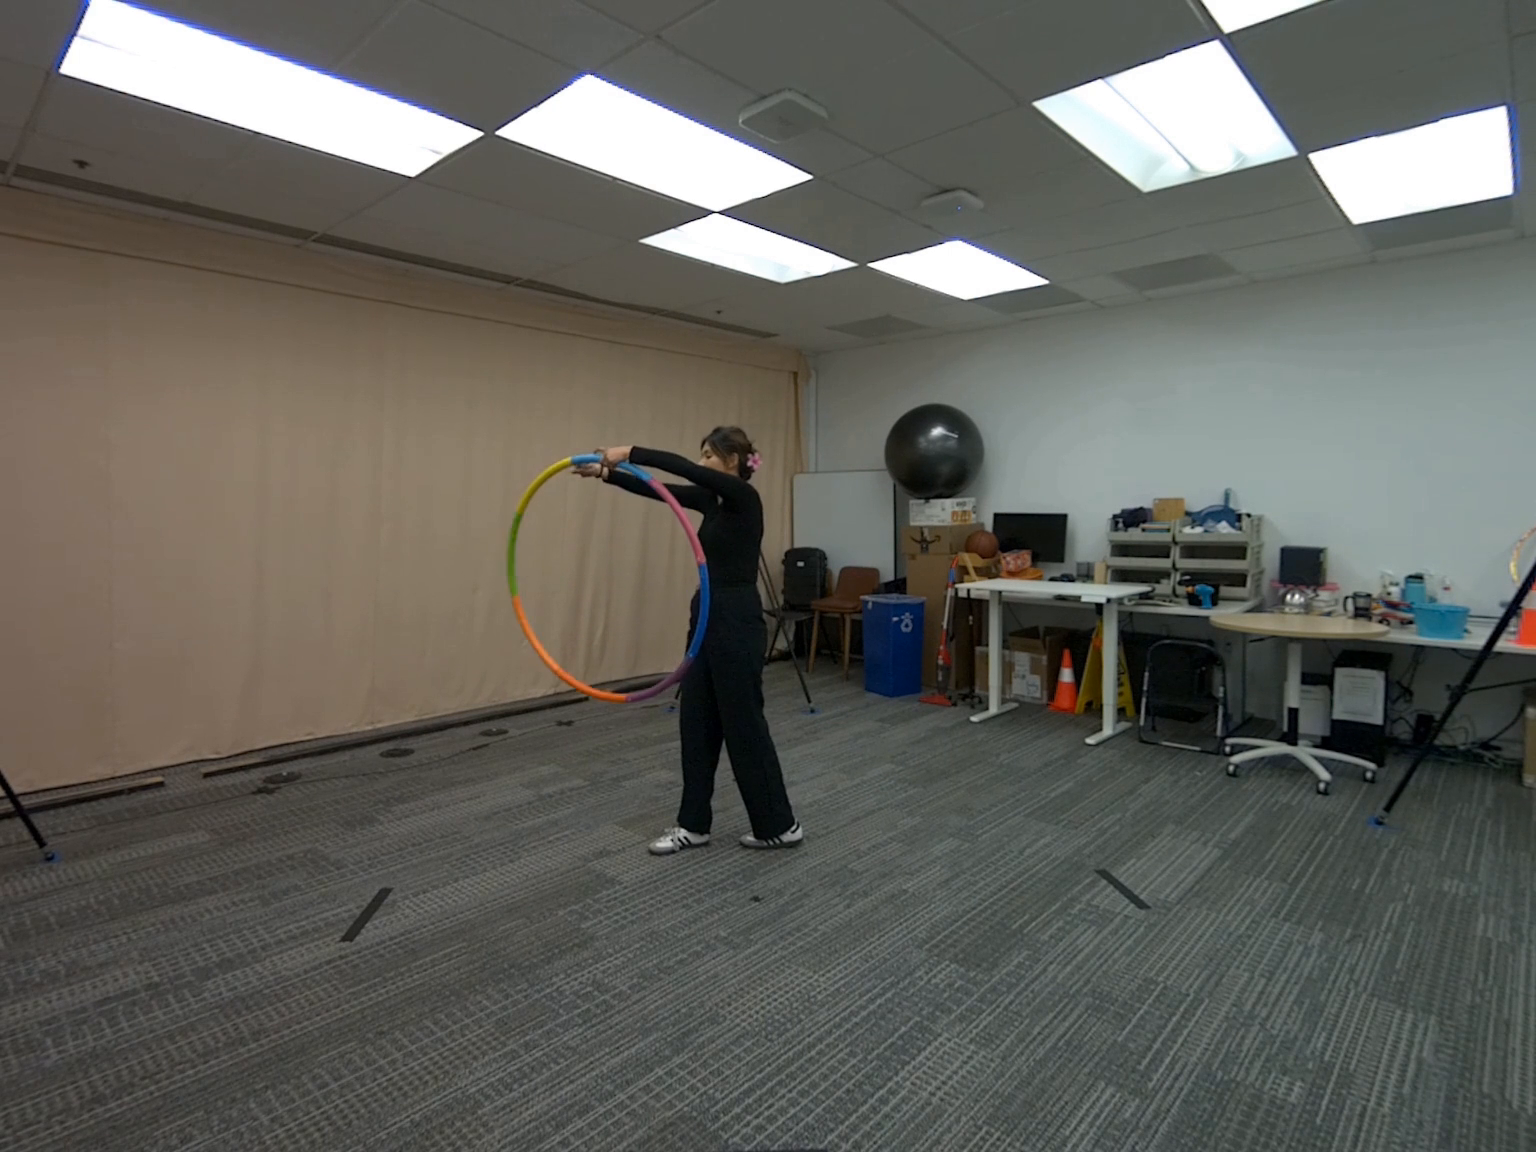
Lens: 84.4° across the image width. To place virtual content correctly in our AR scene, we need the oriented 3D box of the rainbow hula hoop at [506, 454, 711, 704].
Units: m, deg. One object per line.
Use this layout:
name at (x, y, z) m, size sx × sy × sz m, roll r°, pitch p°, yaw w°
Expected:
rainbow hula hoop at (-0.650, 0.023, 3.308) m, size 1.014 × 0.978 × 0.050 m, roll 2°, pitch 11°, yaw 30°
